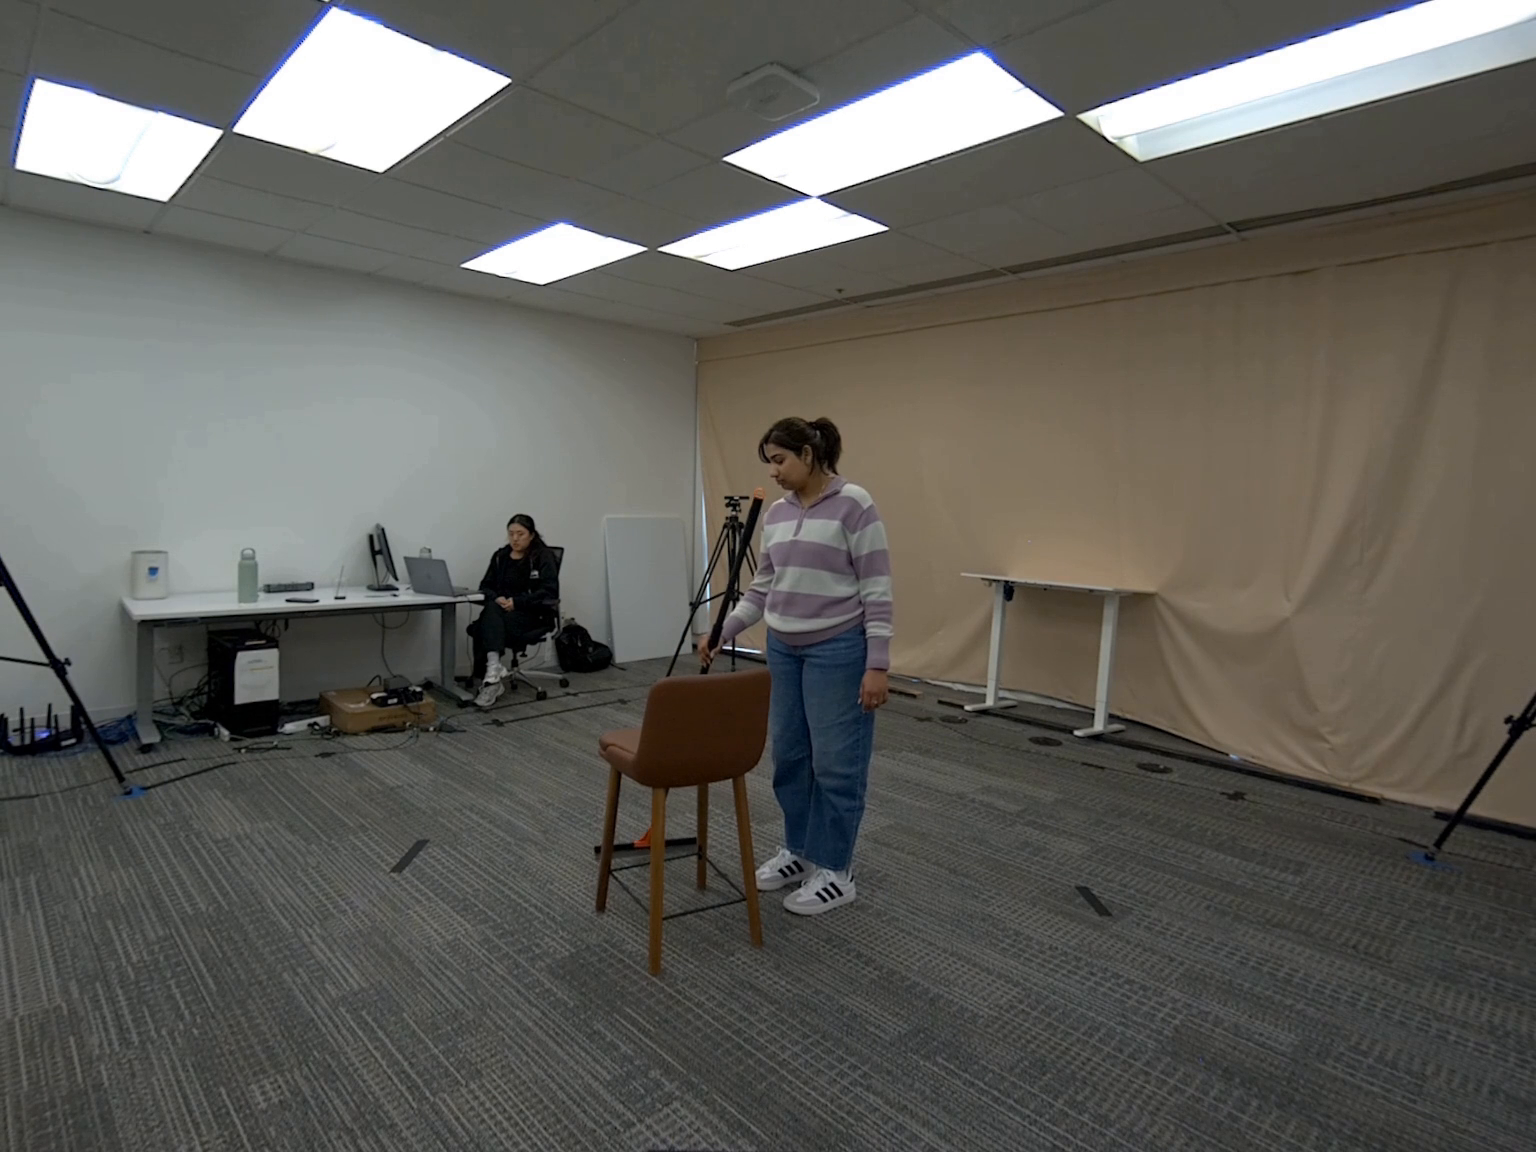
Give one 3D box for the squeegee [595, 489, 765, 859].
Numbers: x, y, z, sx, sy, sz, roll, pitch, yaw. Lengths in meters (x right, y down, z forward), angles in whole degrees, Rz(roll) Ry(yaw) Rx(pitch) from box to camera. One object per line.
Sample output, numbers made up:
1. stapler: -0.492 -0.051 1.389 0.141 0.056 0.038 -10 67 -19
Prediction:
1. squeegee: -0.267 0.384 2.936 0.428 1.521 0.055 0 28 -34
